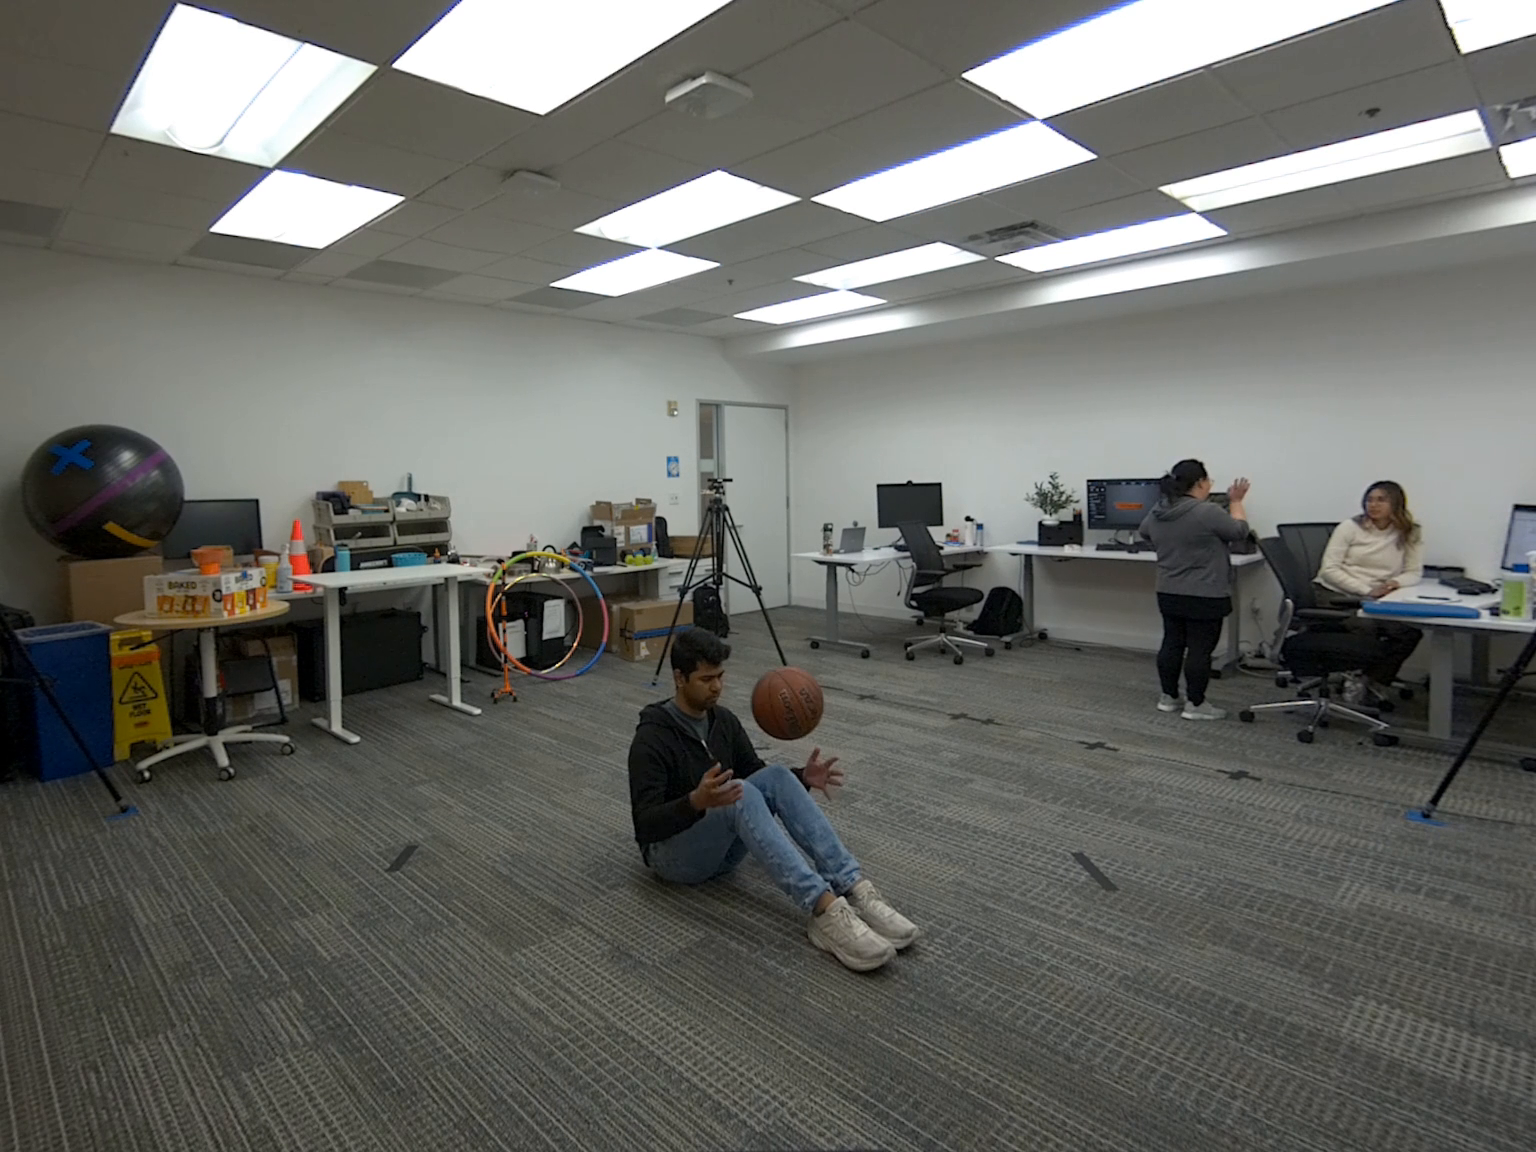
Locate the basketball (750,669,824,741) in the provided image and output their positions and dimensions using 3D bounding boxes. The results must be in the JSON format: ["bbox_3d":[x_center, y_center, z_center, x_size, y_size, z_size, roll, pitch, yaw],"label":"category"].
[{"bbox_3d":[0.066,0.478,2.814,0.236,0.235,0.237,-1,5,-2],"label":"basketball"}]
